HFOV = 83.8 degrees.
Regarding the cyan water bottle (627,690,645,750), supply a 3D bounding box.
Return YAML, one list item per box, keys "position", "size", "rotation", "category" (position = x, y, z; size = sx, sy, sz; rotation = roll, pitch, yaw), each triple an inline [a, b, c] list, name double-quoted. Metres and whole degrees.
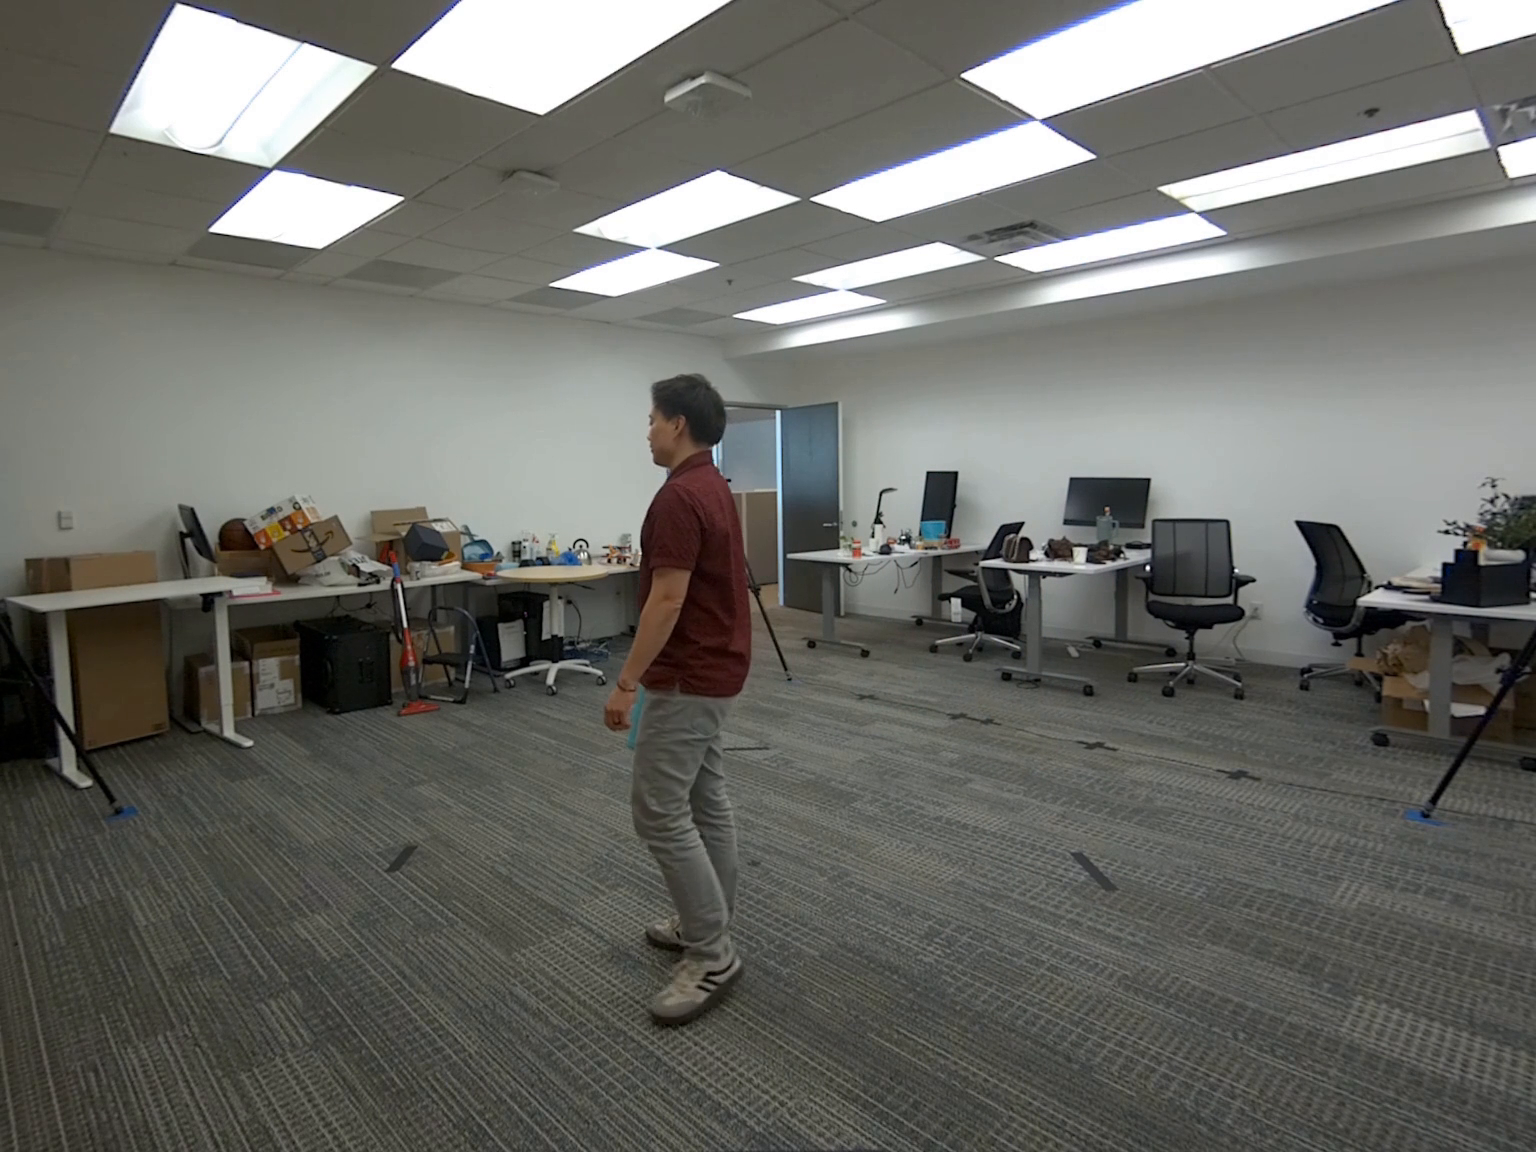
- position: [-0.376, 0.439, 2.796]
  size: [0.092, 0.283, 0.092]
  rotation: [14, 2, -2]
  category: "cyan water bottle"
